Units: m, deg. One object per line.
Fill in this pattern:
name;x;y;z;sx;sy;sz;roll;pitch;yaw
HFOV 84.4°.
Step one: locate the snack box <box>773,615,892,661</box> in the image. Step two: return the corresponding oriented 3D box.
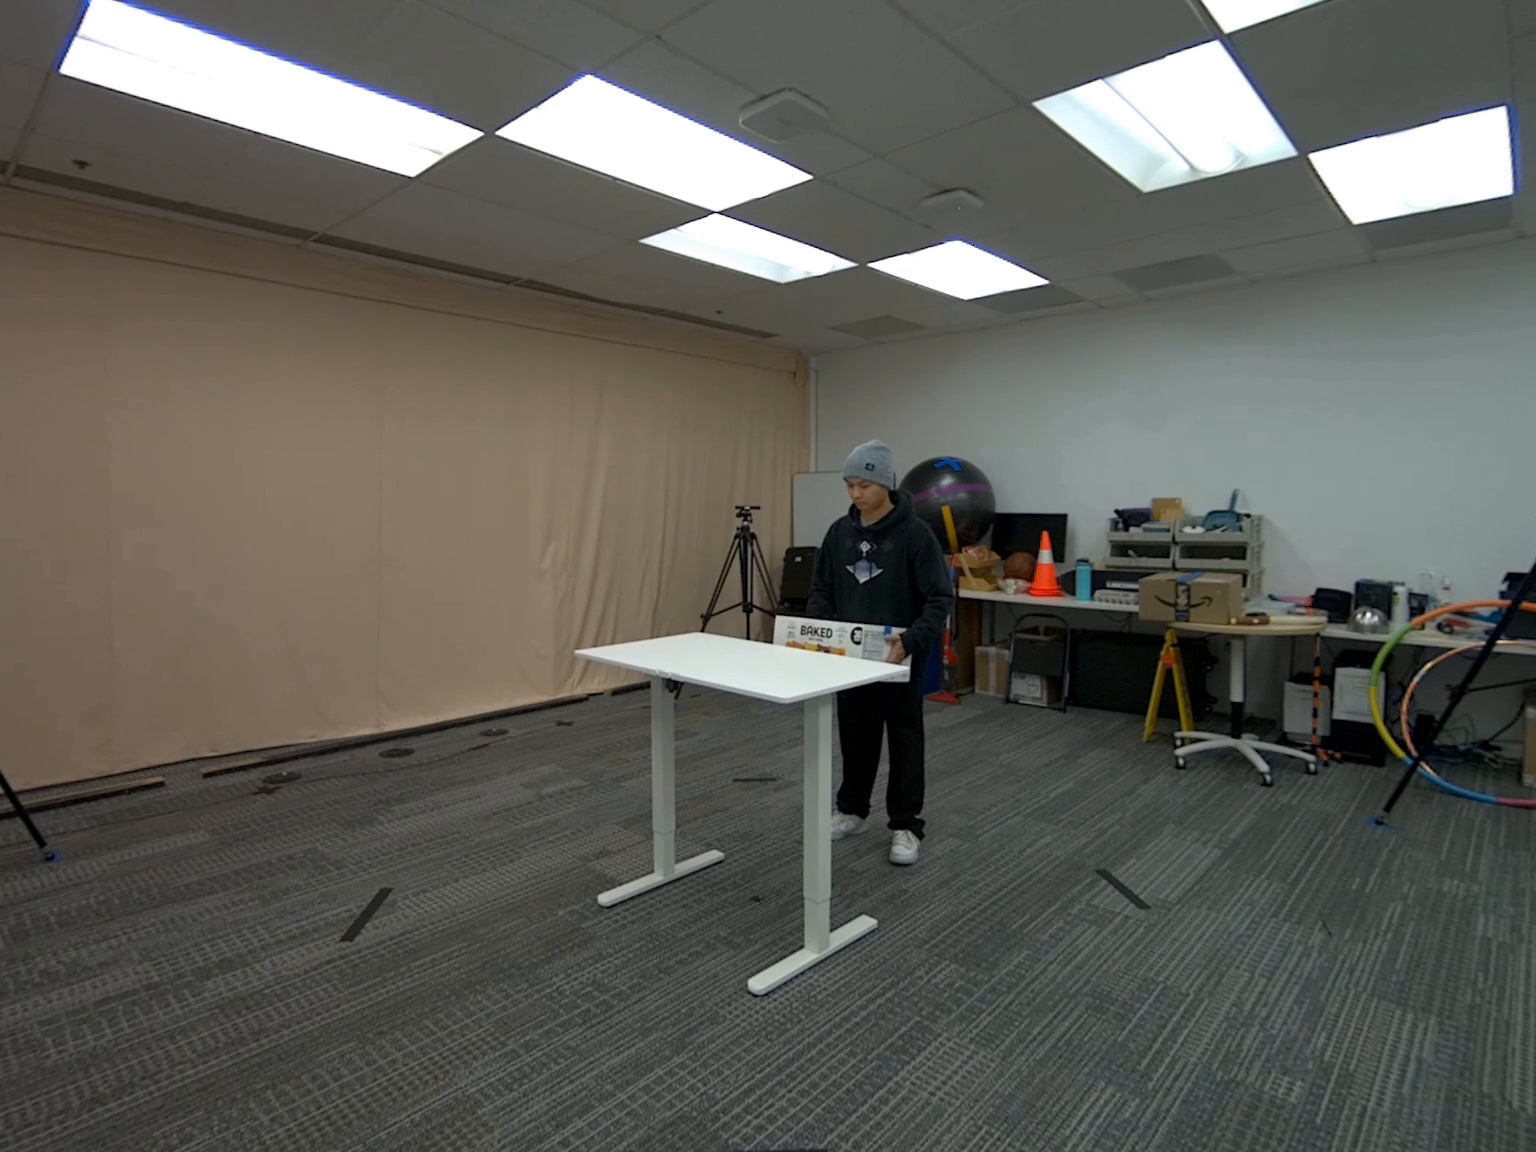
snack box;0.284;0.279;3.233;0.418;0.206;0.328;3;-4;43
